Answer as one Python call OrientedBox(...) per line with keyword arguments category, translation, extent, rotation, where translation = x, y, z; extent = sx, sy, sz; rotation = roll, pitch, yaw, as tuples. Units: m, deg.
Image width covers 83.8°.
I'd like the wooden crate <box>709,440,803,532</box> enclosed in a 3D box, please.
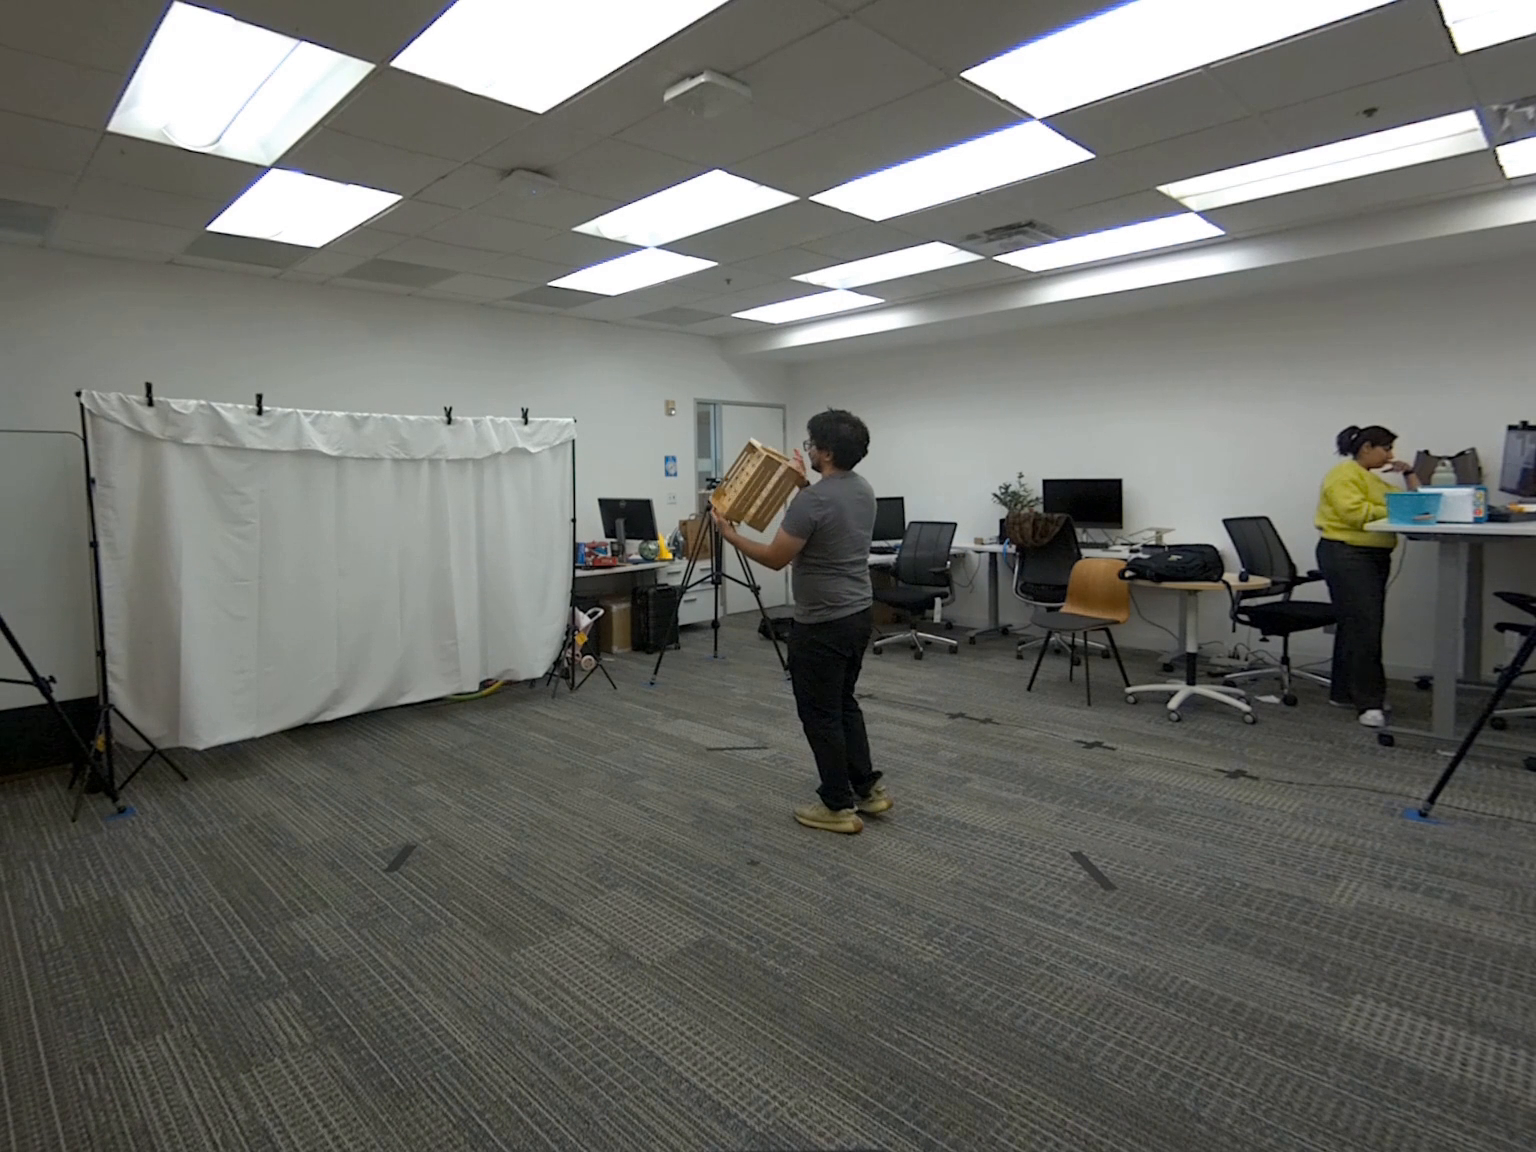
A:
OrientedBox(category="wooden crate", translation=(-0.075, -0.394, 3.550), extent=(0.263, 0.324, 0.314), rotation=(26, 15, -38))
